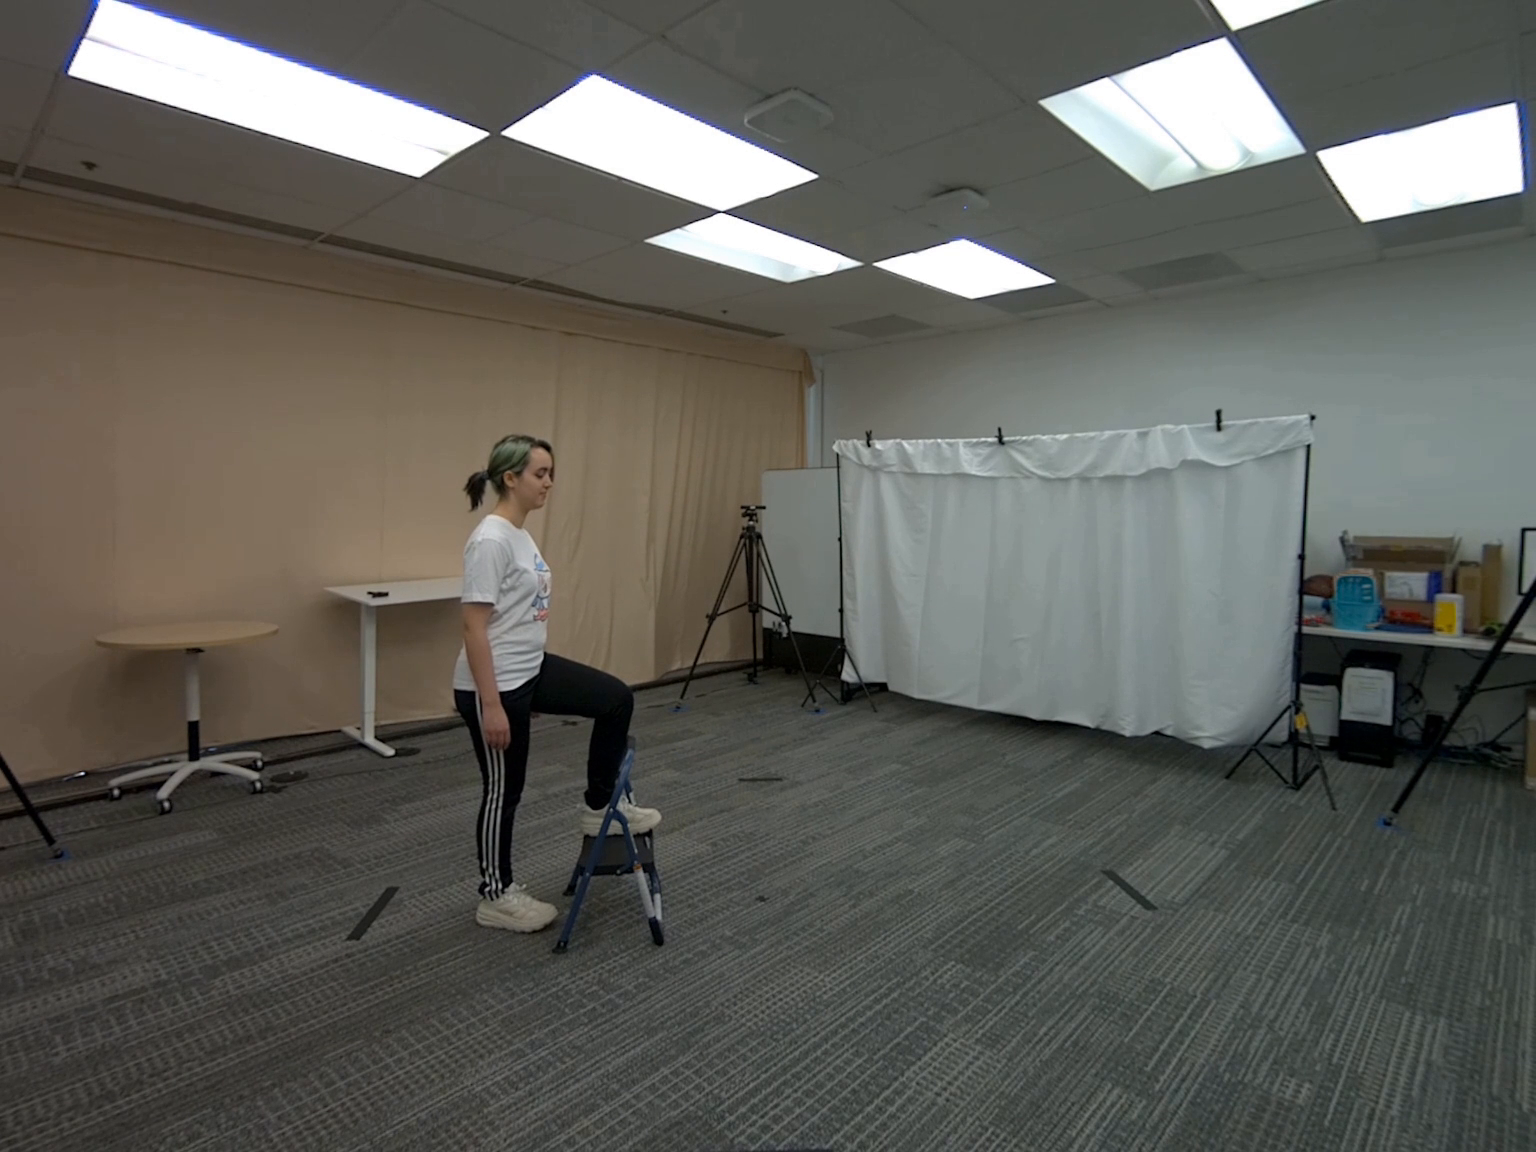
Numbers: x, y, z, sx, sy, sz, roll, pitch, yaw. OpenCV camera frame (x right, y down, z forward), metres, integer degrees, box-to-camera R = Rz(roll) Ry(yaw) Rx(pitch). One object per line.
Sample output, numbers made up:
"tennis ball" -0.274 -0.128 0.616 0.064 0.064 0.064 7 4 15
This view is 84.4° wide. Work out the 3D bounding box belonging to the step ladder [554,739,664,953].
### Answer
"step ladder" -0.533 0.864 2.834 0.346 0.605 0.435 -1 3 -9
